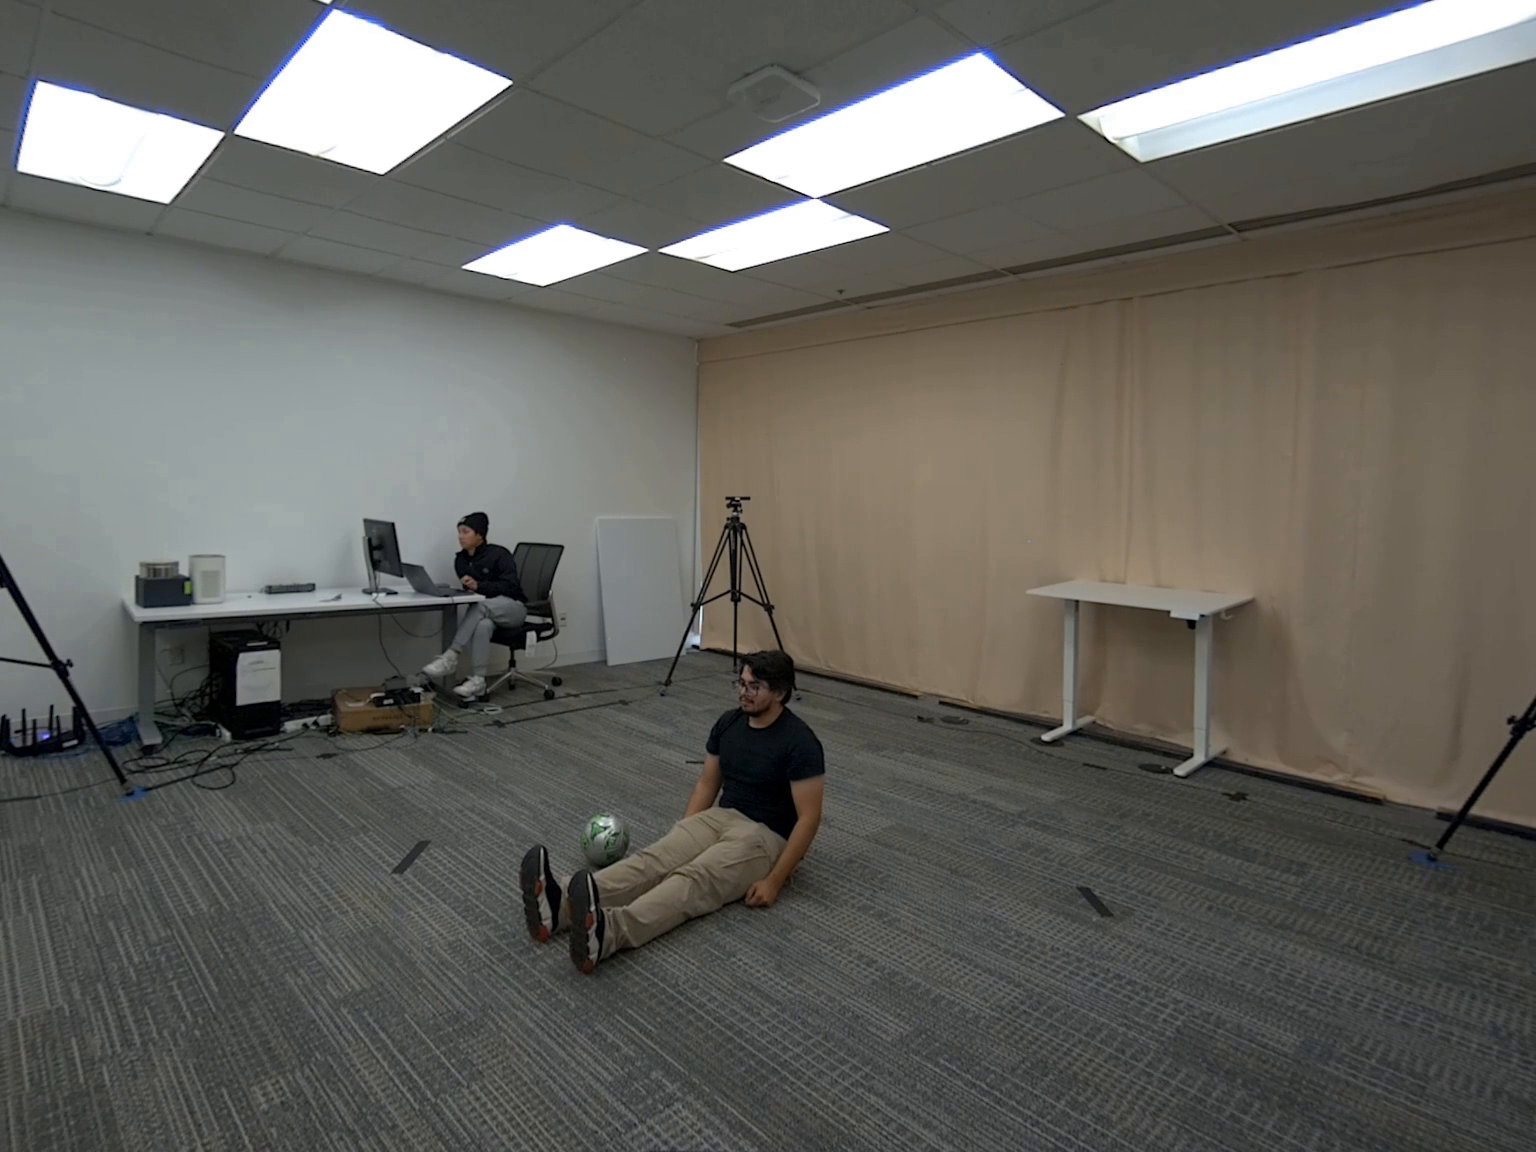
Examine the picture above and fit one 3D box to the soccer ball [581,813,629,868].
[{"bbox_3d":[-0.616,0.986,3.185,0.187,0.187,0.188,1,5,-1],"label":"soccer ball"}]
